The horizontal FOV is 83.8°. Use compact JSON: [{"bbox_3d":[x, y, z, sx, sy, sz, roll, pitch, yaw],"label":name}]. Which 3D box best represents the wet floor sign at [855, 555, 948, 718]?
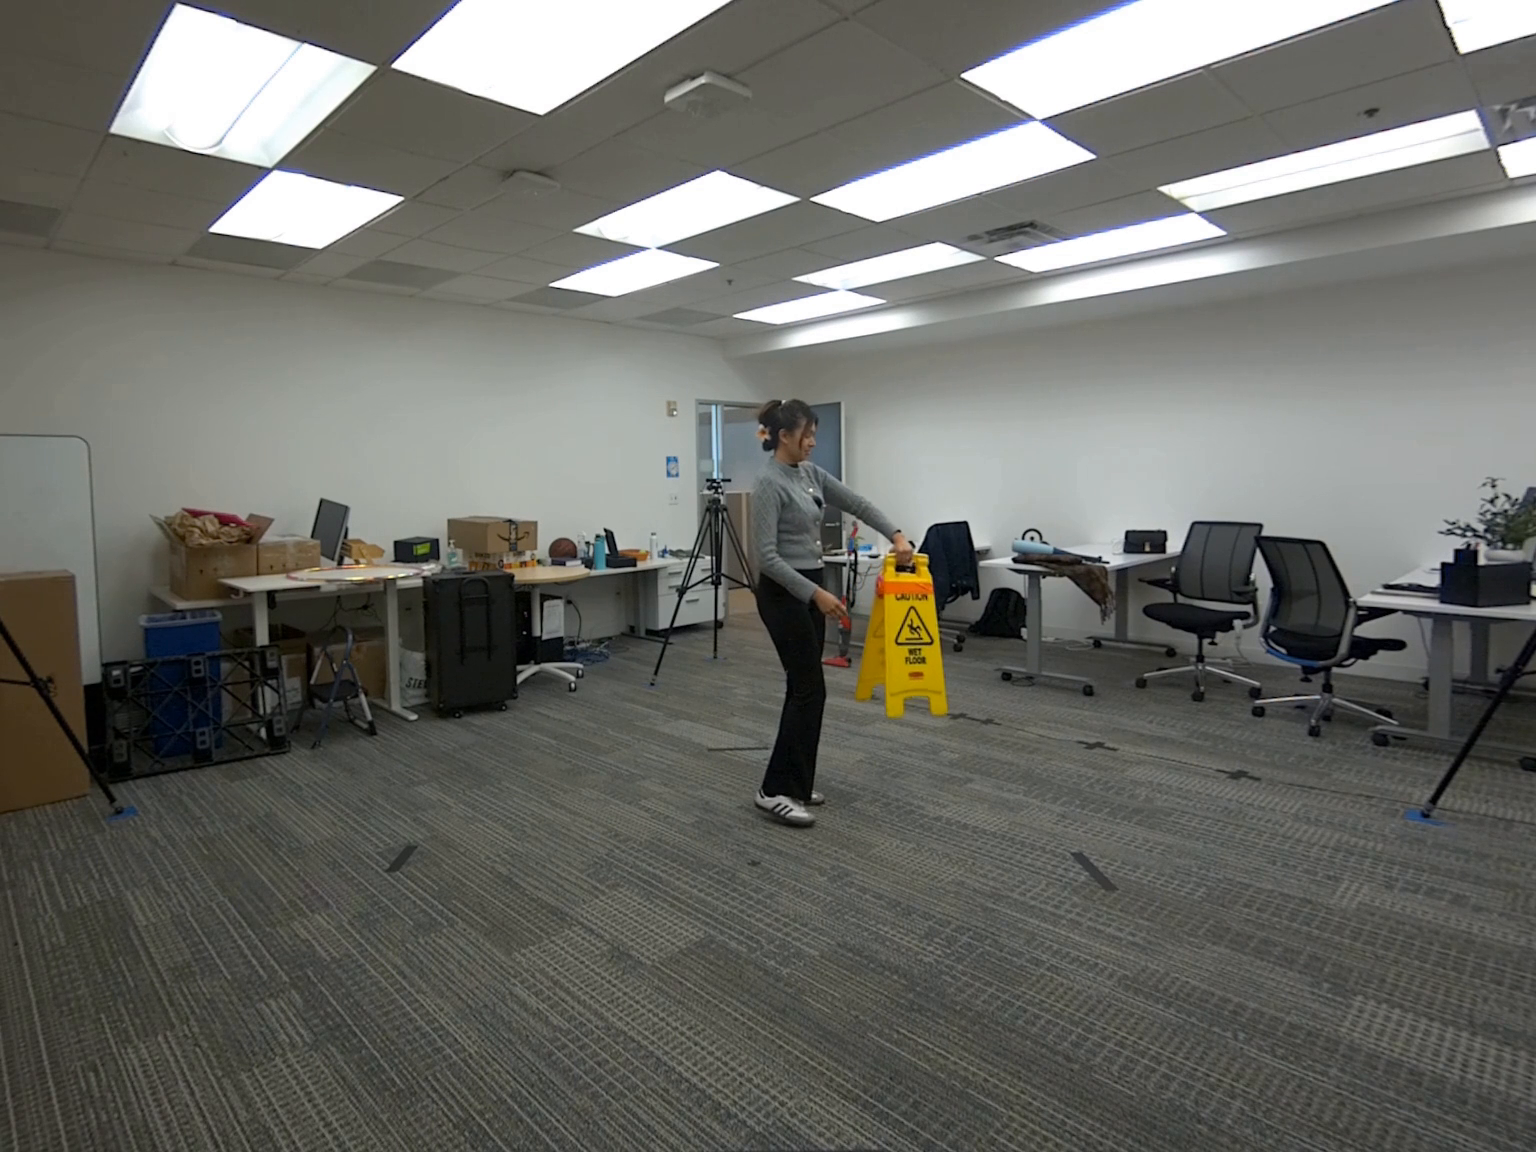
[{"bbox_3d":[0.558,0.228,3.573,0.277,0.645,0.296,2,2,-21],"label":"wet floor sign"}]
